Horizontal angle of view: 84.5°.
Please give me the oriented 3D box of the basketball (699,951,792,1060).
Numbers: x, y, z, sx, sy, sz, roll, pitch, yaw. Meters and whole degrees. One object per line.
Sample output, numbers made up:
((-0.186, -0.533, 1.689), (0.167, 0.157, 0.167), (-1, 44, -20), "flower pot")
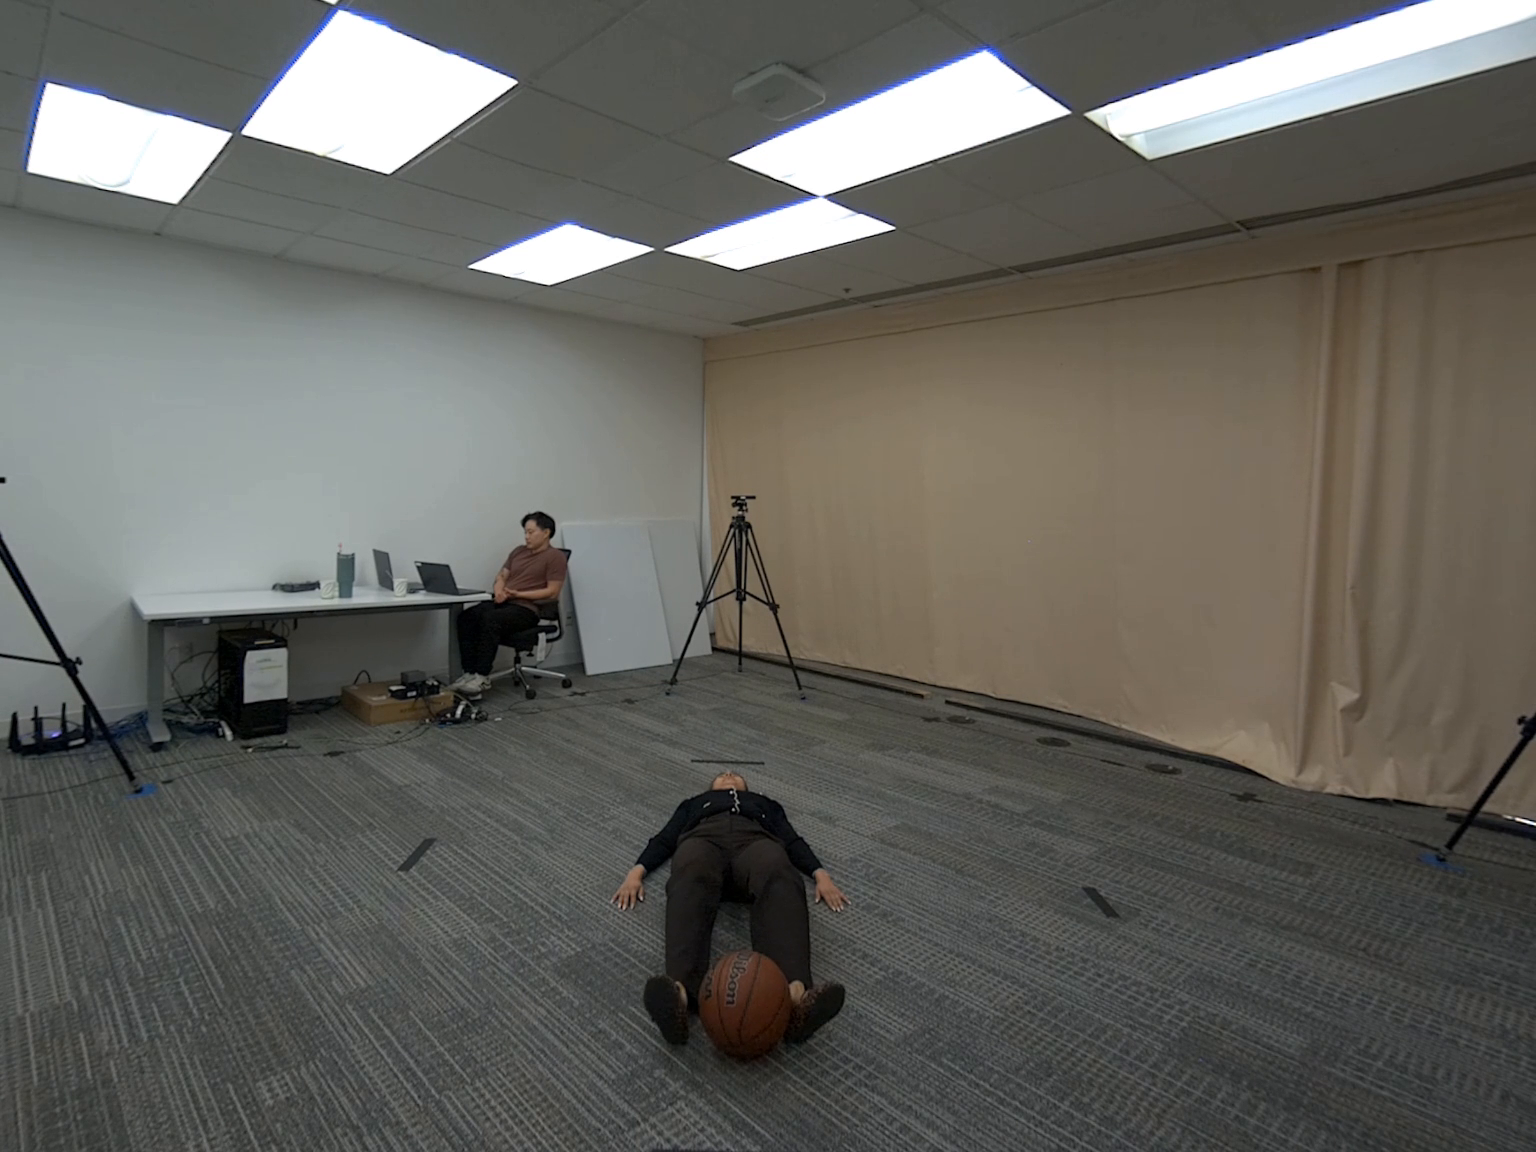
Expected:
((-0.066, 1.081, 2.126), (0.235, 0.235, 0.237), (4, 5, -2), "basketball")
